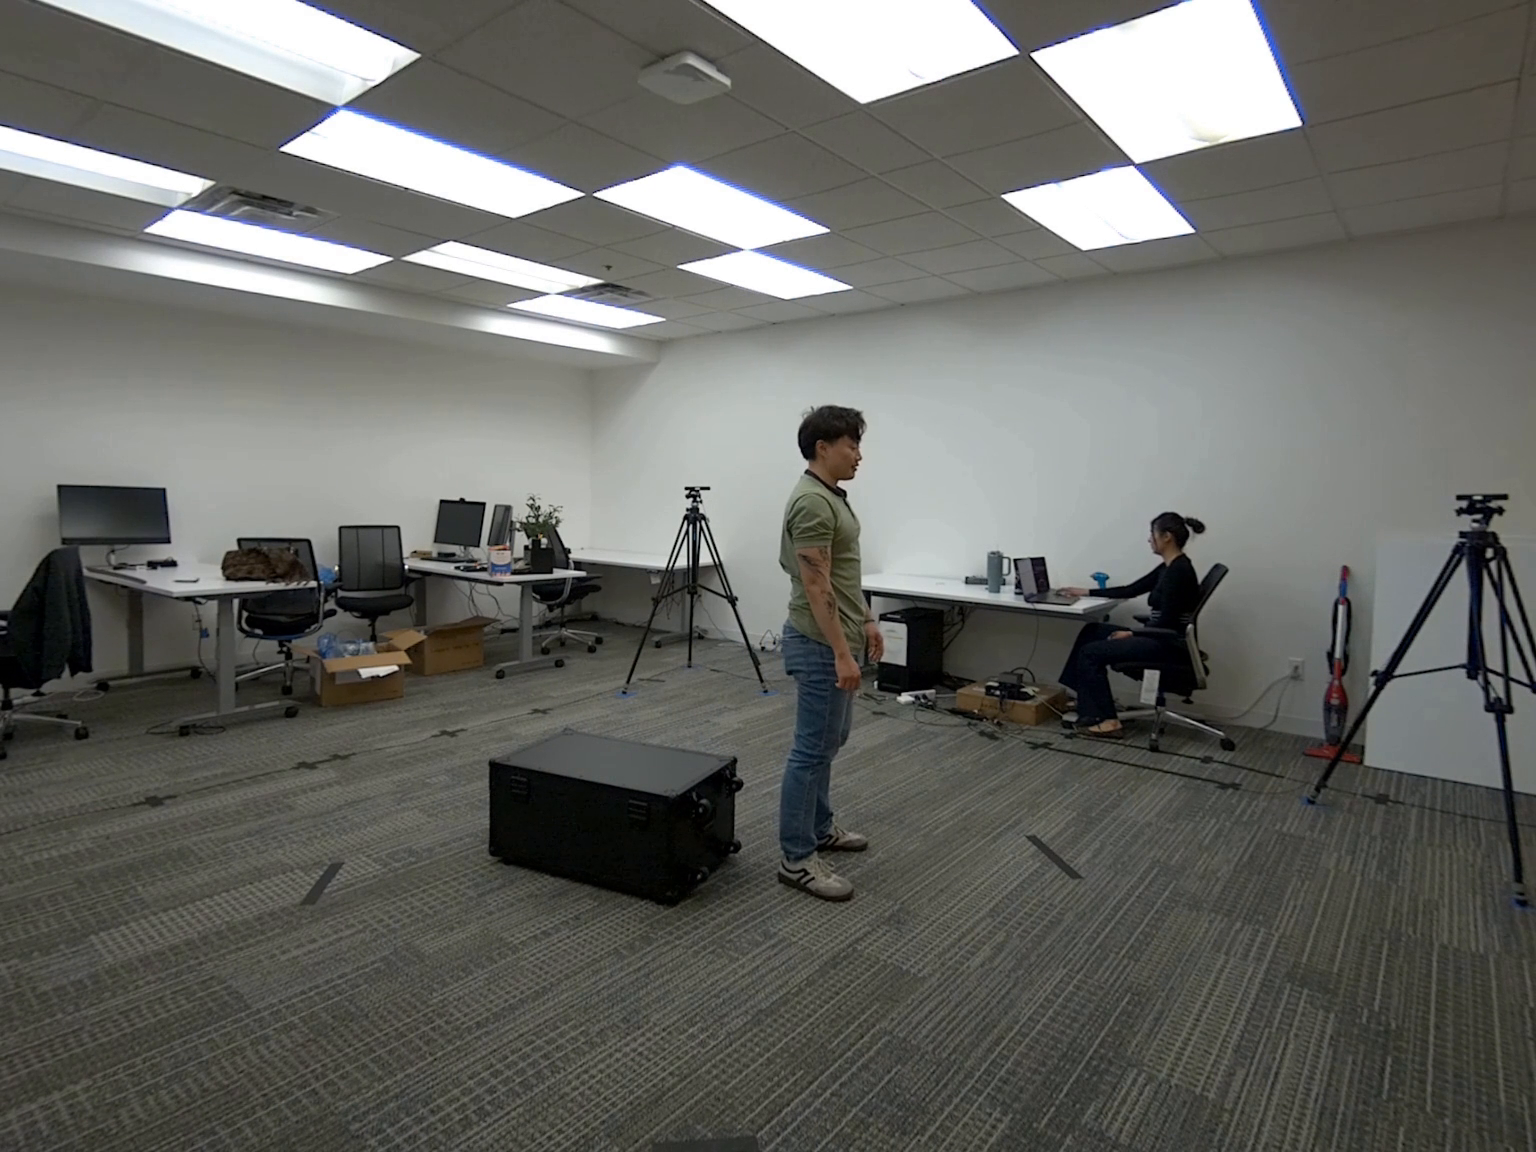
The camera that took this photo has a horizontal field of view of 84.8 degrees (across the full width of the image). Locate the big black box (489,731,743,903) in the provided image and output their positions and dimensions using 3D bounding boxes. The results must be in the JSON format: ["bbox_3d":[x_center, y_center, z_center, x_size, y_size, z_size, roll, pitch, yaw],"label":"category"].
[{"bbox_3d":[-0.554,0.864,3.150,0.884,0.395,0.510,3,4,25],"label":"big black box"}]
